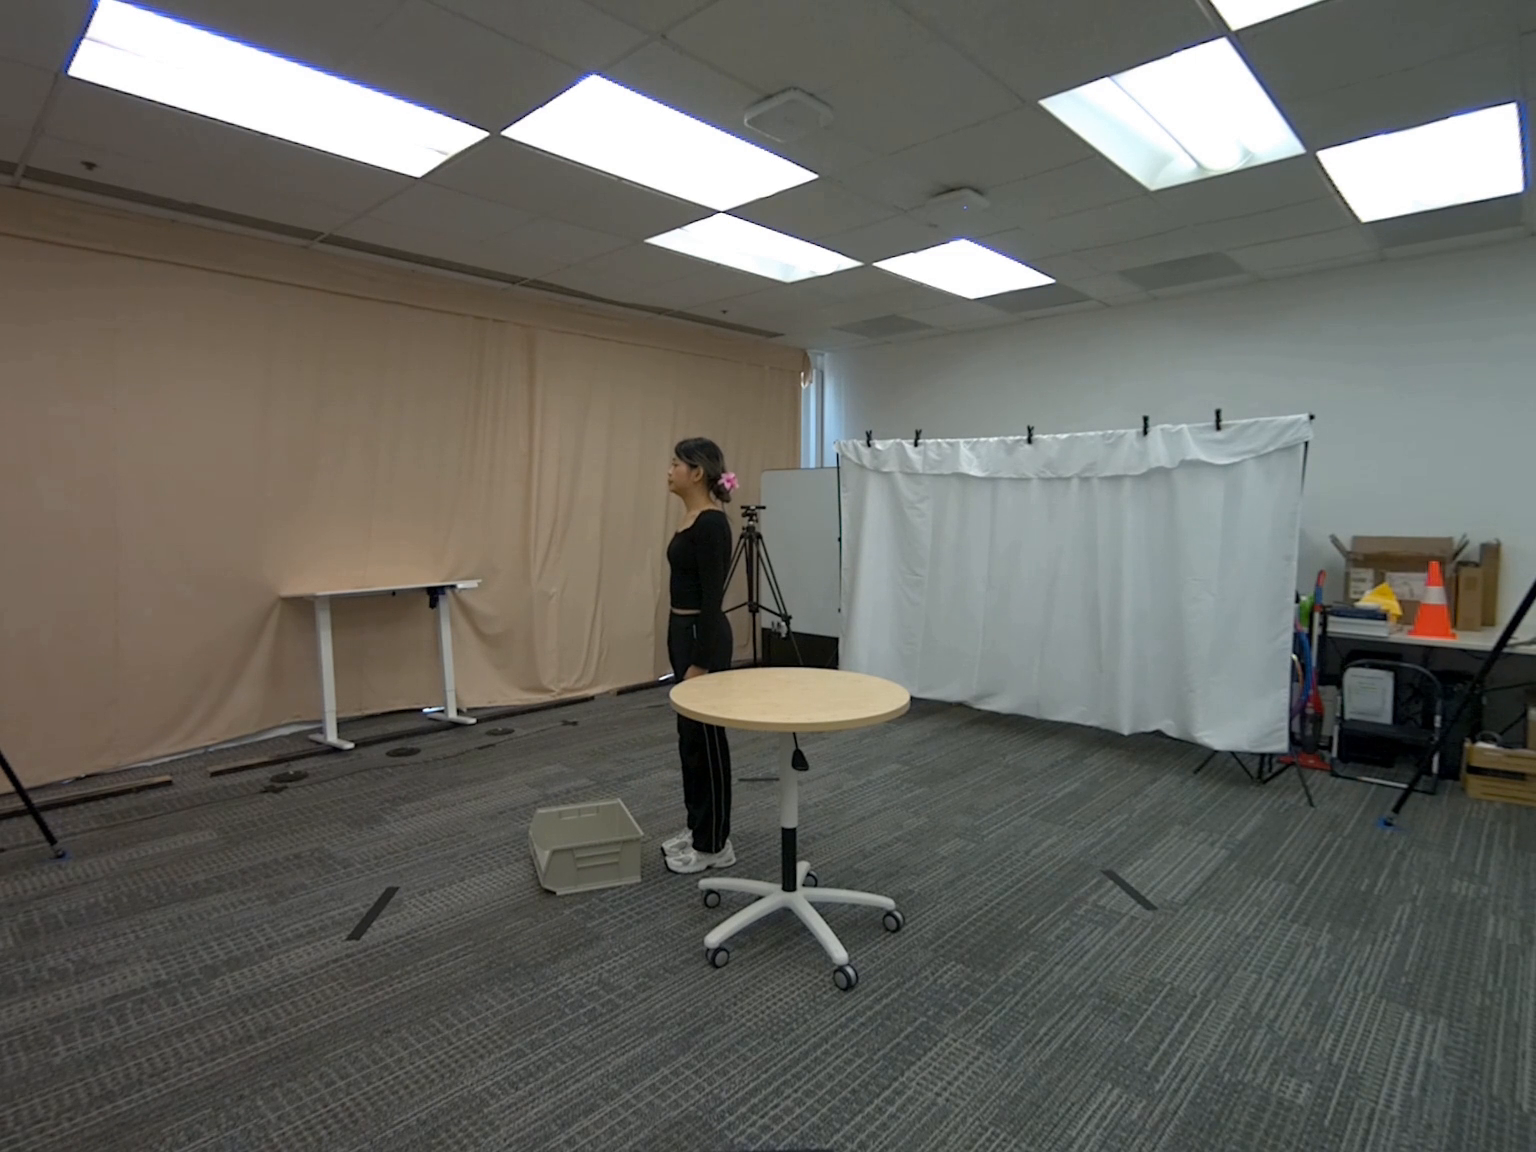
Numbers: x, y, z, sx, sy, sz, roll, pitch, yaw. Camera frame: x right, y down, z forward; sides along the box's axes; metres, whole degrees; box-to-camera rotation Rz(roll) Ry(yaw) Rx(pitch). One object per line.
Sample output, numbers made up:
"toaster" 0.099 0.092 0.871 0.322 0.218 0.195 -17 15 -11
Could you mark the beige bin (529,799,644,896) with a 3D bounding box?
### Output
"beige bin" -0.710 1.027 3.258 0.370 0.188 0.432 -1 5 -21
